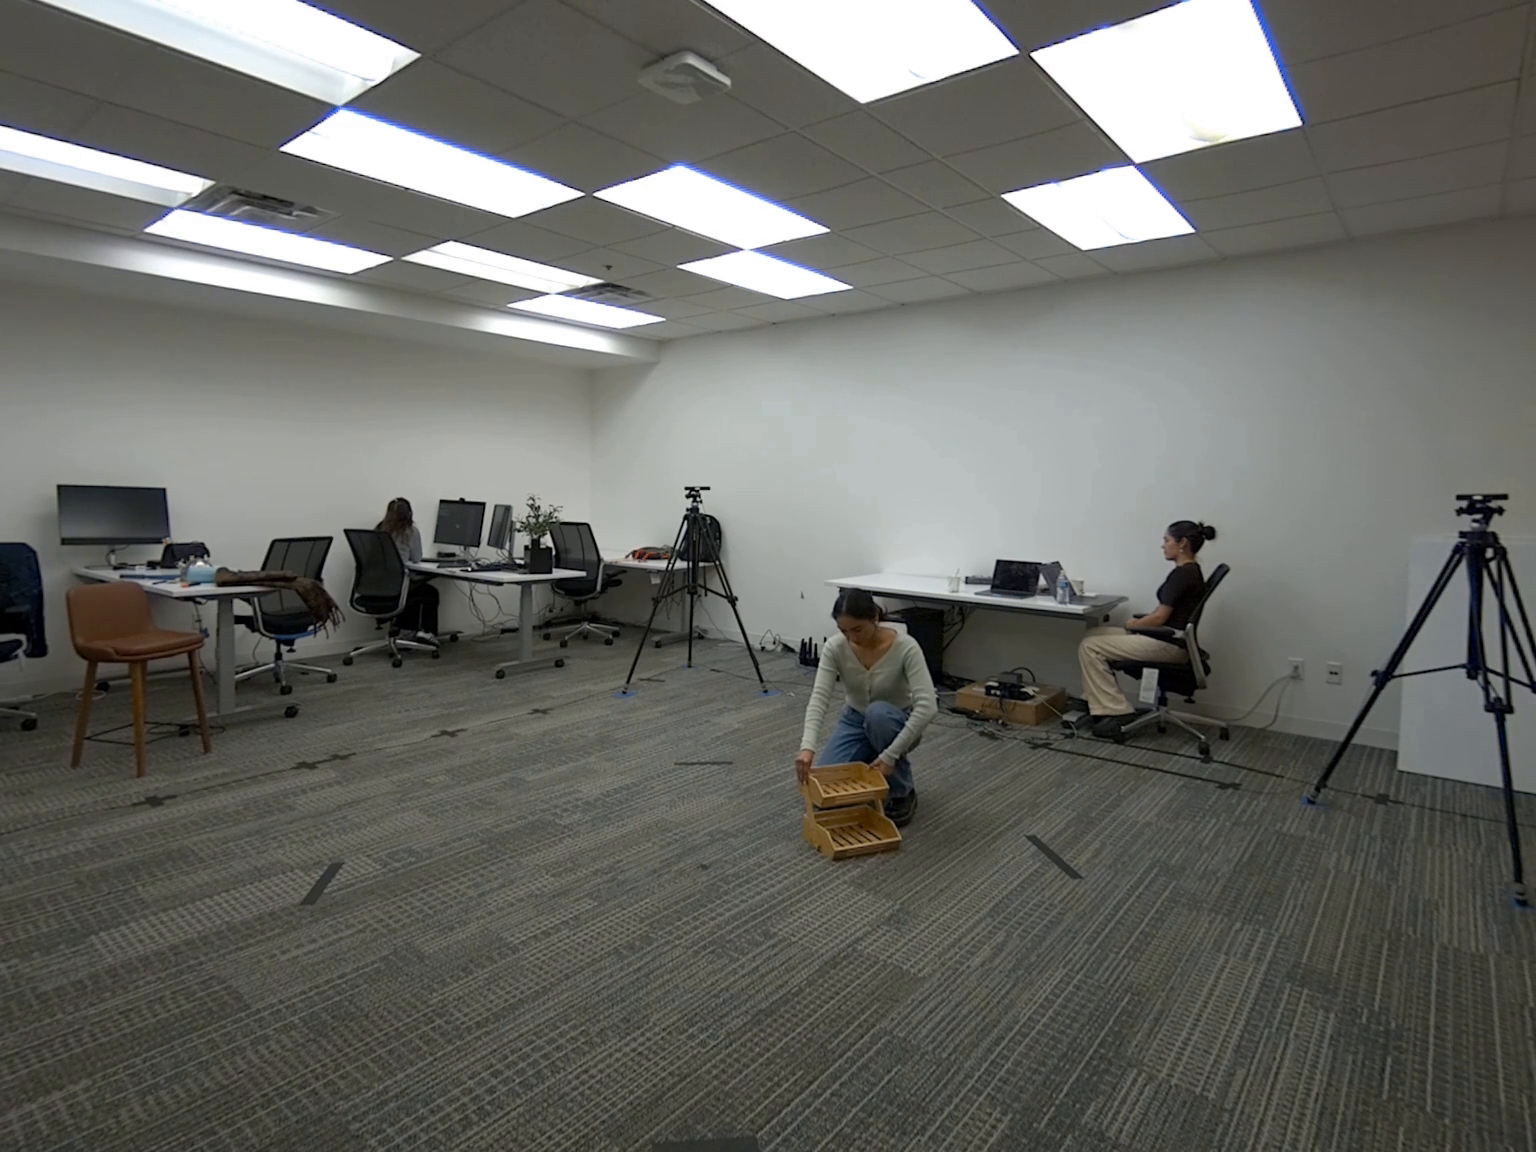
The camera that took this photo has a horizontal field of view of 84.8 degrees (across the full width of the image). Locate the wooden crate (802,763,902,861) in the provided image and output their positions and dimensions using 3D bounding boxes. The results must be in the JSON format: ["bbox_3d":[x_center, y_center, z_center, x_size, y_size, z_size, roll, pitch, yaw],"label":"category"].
[{"bbox_3d":[0.313,0.914,3.360,0.317,0.273,0.310,-1,3,-24],"label":"wooden crate"}]
